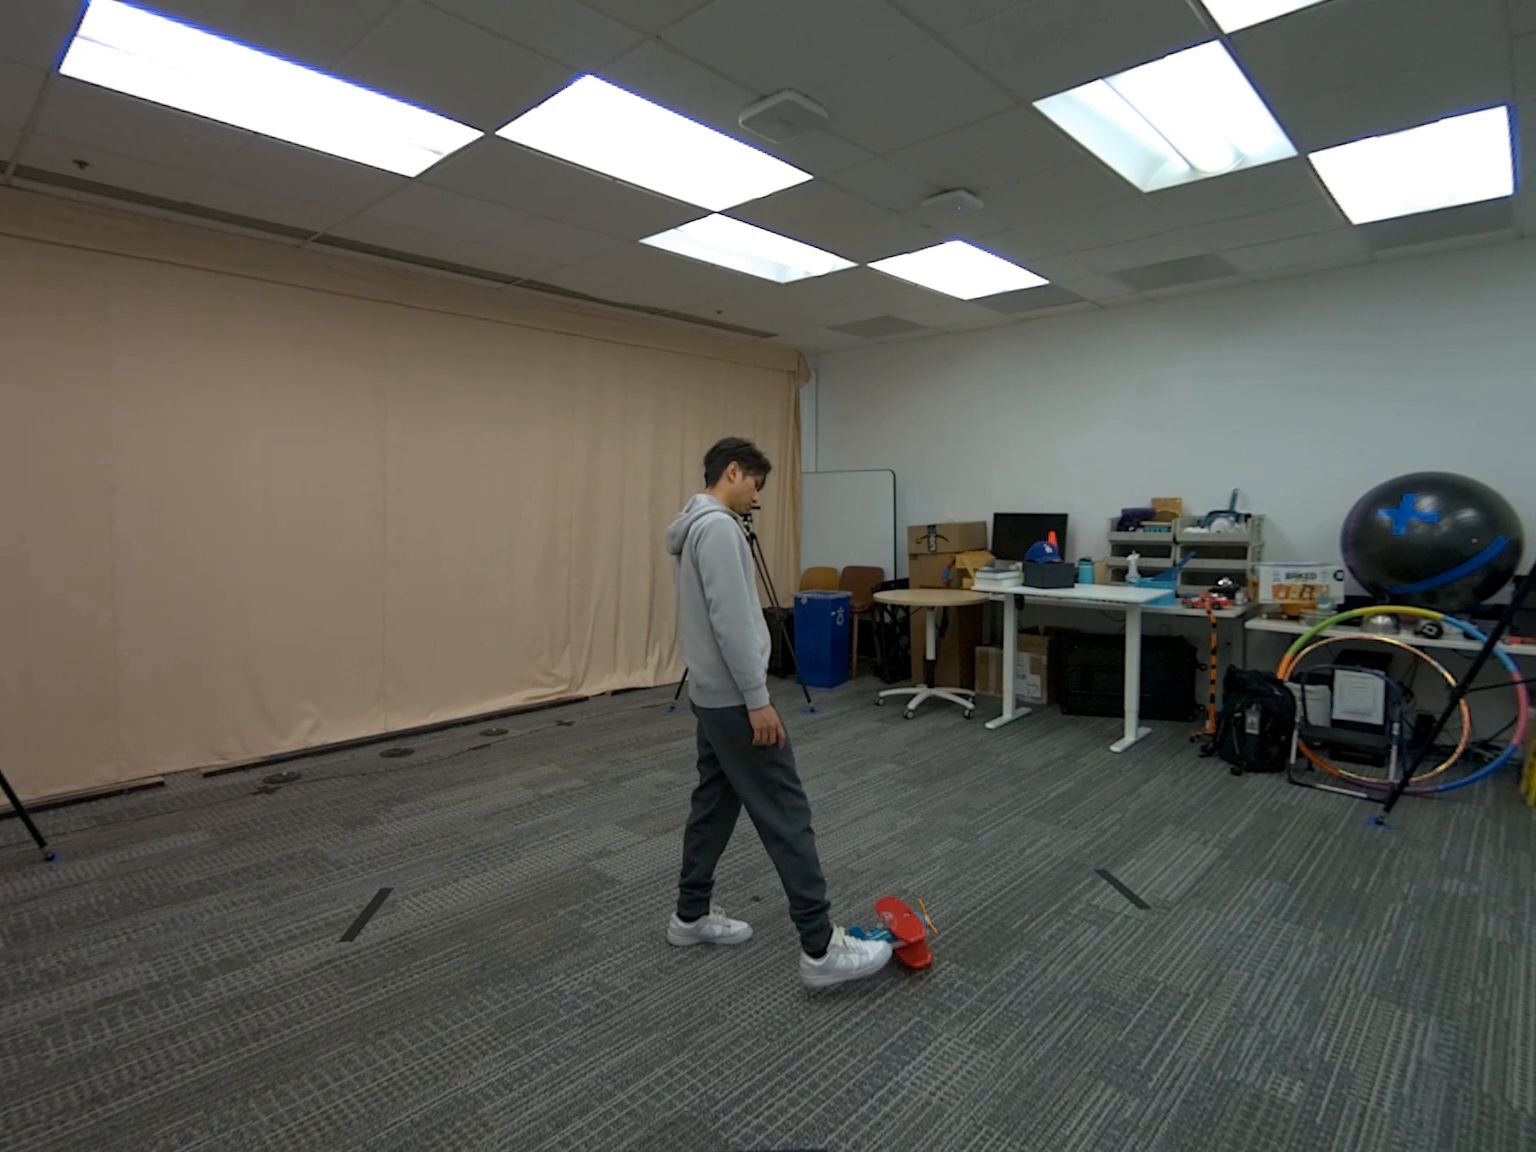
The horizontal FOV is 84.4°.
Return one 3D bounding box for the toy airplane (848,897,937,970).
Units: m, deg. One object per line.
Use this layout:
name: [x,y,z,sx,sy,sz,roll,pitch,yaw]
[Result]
toy airplane: [0.387,1.110,2.538,0.251,0.156,0.259,-3,6,-41]
